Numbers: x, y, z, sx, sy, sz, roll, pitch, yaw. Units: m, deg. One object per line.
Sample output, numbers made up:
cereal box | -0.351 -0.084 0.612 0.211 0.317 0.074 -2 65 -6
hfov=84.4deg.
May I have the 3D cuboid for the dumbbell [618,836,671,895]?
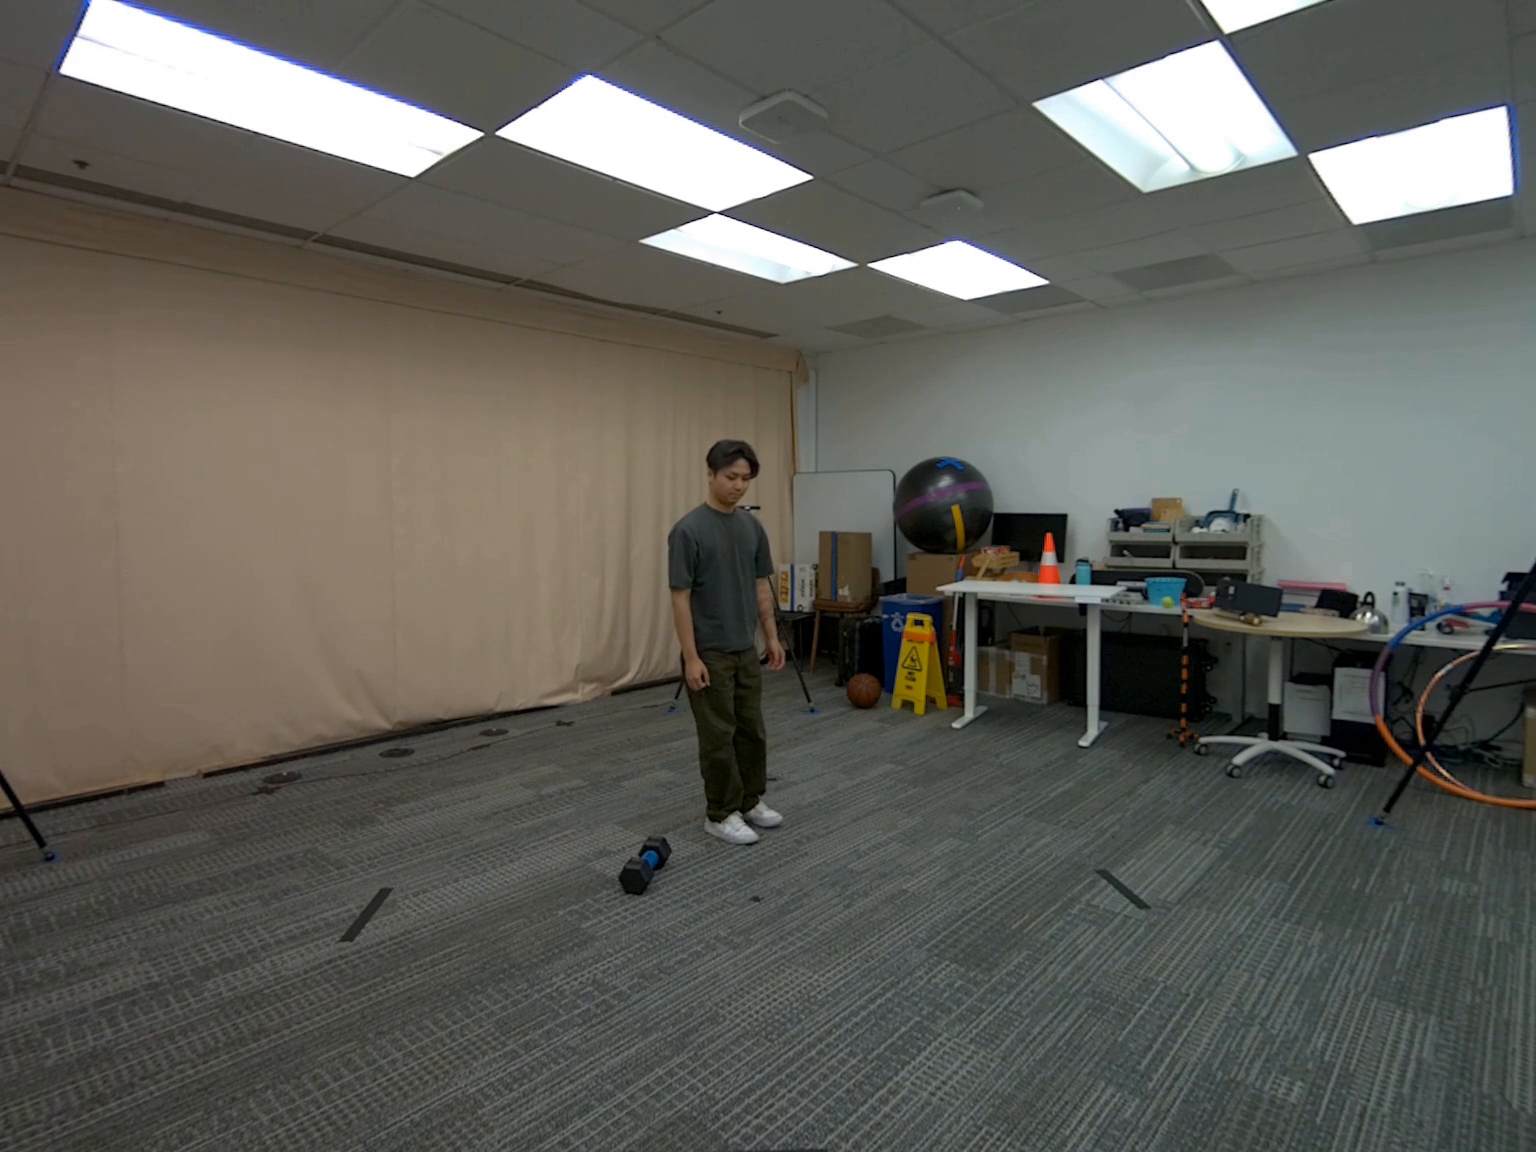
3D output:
dumbbell | -0.456 1.079 3.152 0.125 0.108 0.290 2 6 11
